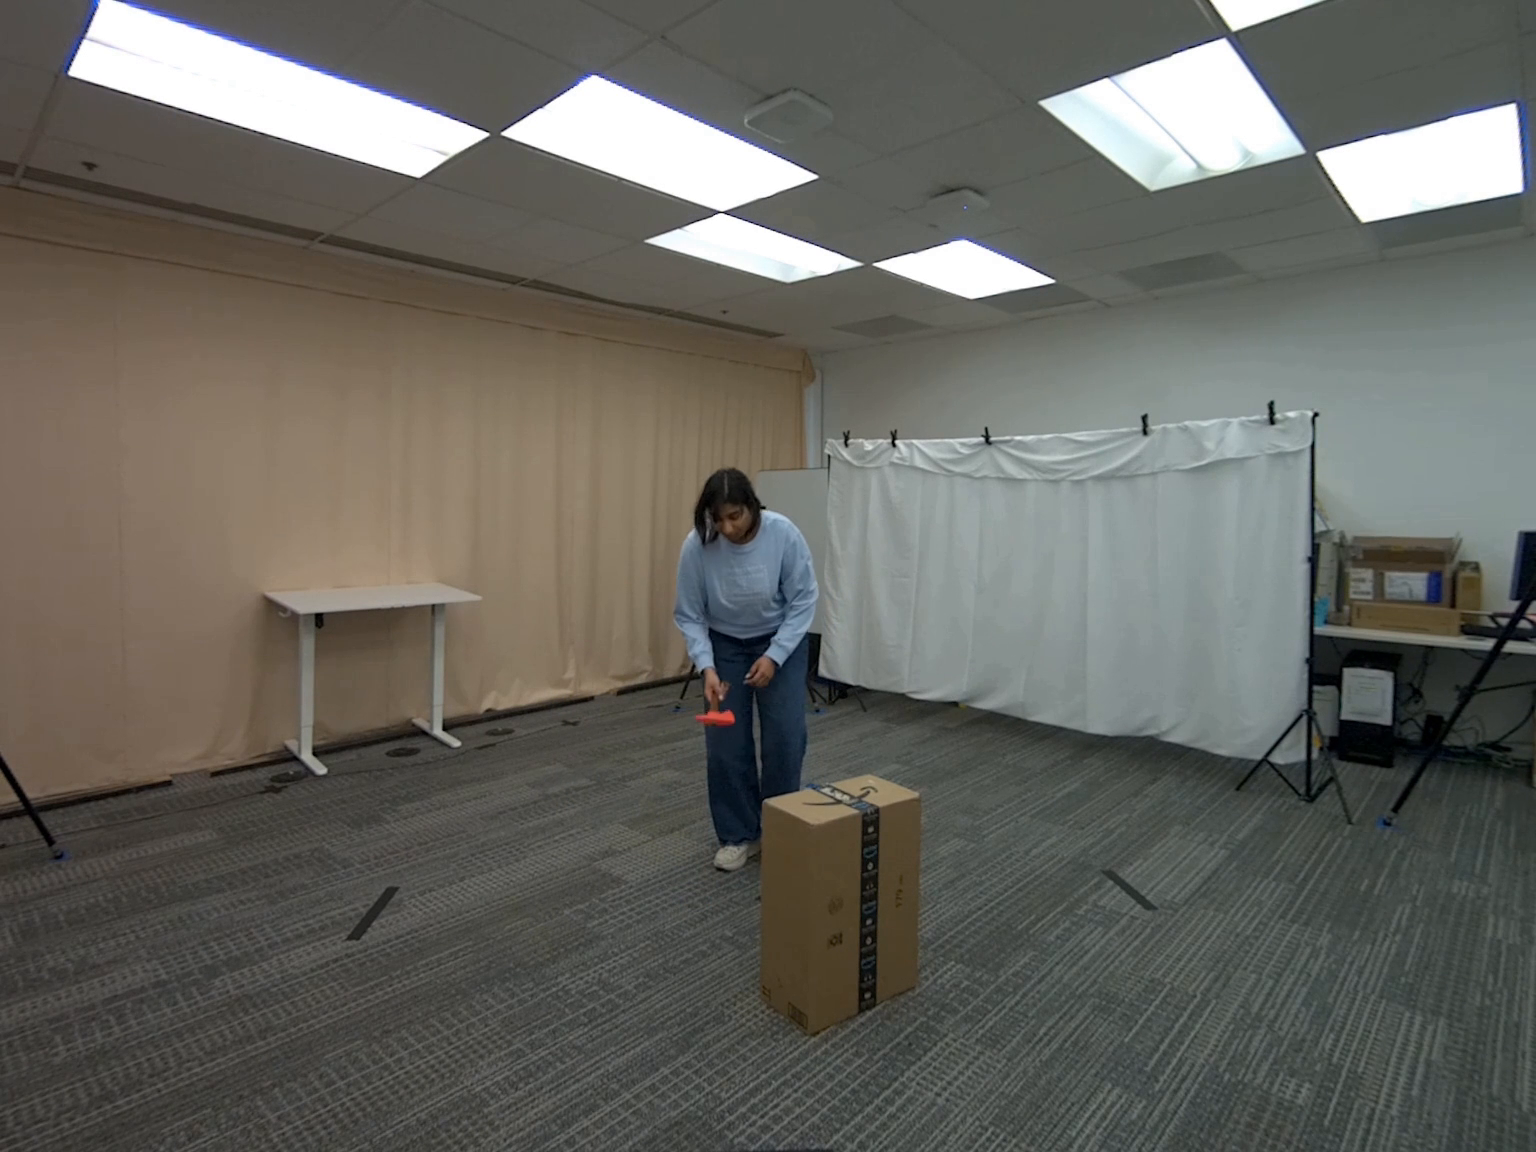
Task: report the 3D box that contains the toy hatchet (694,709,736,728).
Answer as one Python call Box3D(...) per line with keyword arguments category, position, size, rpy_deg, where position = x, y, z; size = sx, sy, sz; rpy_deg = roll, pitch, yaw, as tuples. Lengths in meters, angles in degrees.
Box3D(category="toy hatchet", position=(-0.154, 0.462, 2.941), size=(0.134, 0.029, 0.266), rpy_deg=(8, 14, 16))
